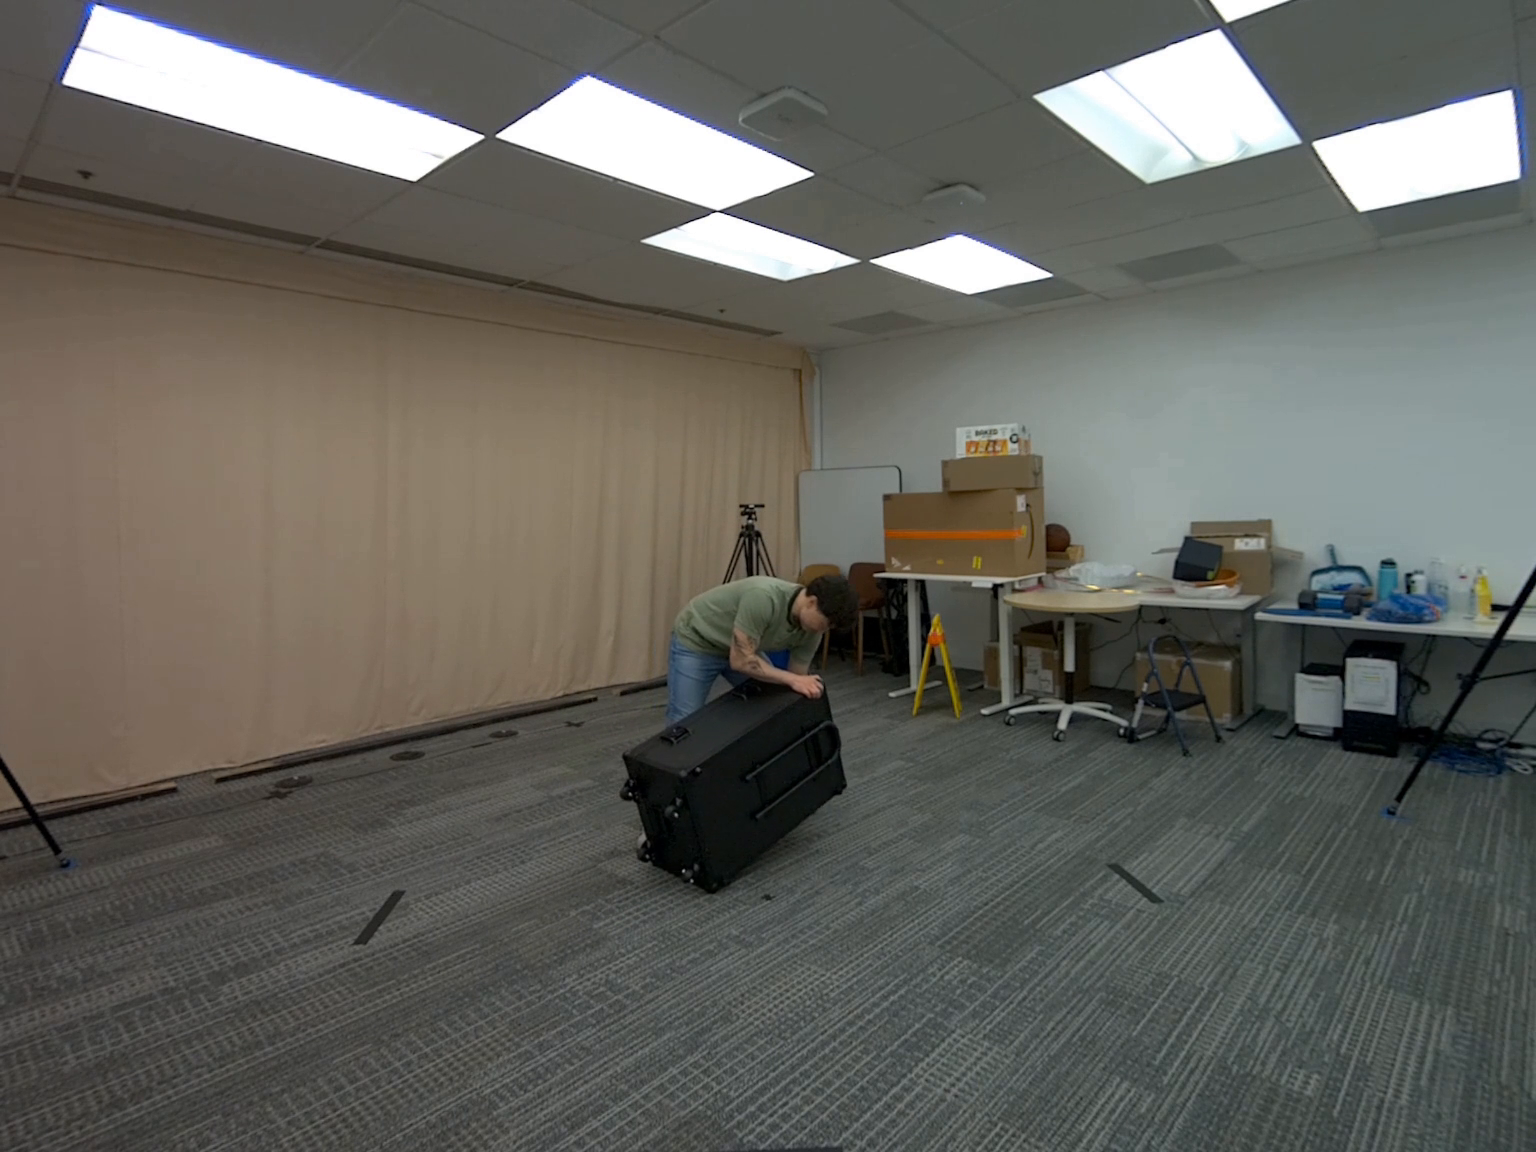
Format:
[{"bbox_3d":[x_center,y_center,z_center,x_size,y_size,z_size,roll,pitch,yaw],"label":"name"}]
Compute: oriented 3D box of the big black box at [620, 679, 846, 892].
[{"bbox_3d":[-0.117,0.790,3.288,0.844,0.515,0.409,-25,18,-38],"label":"big black box"}]
